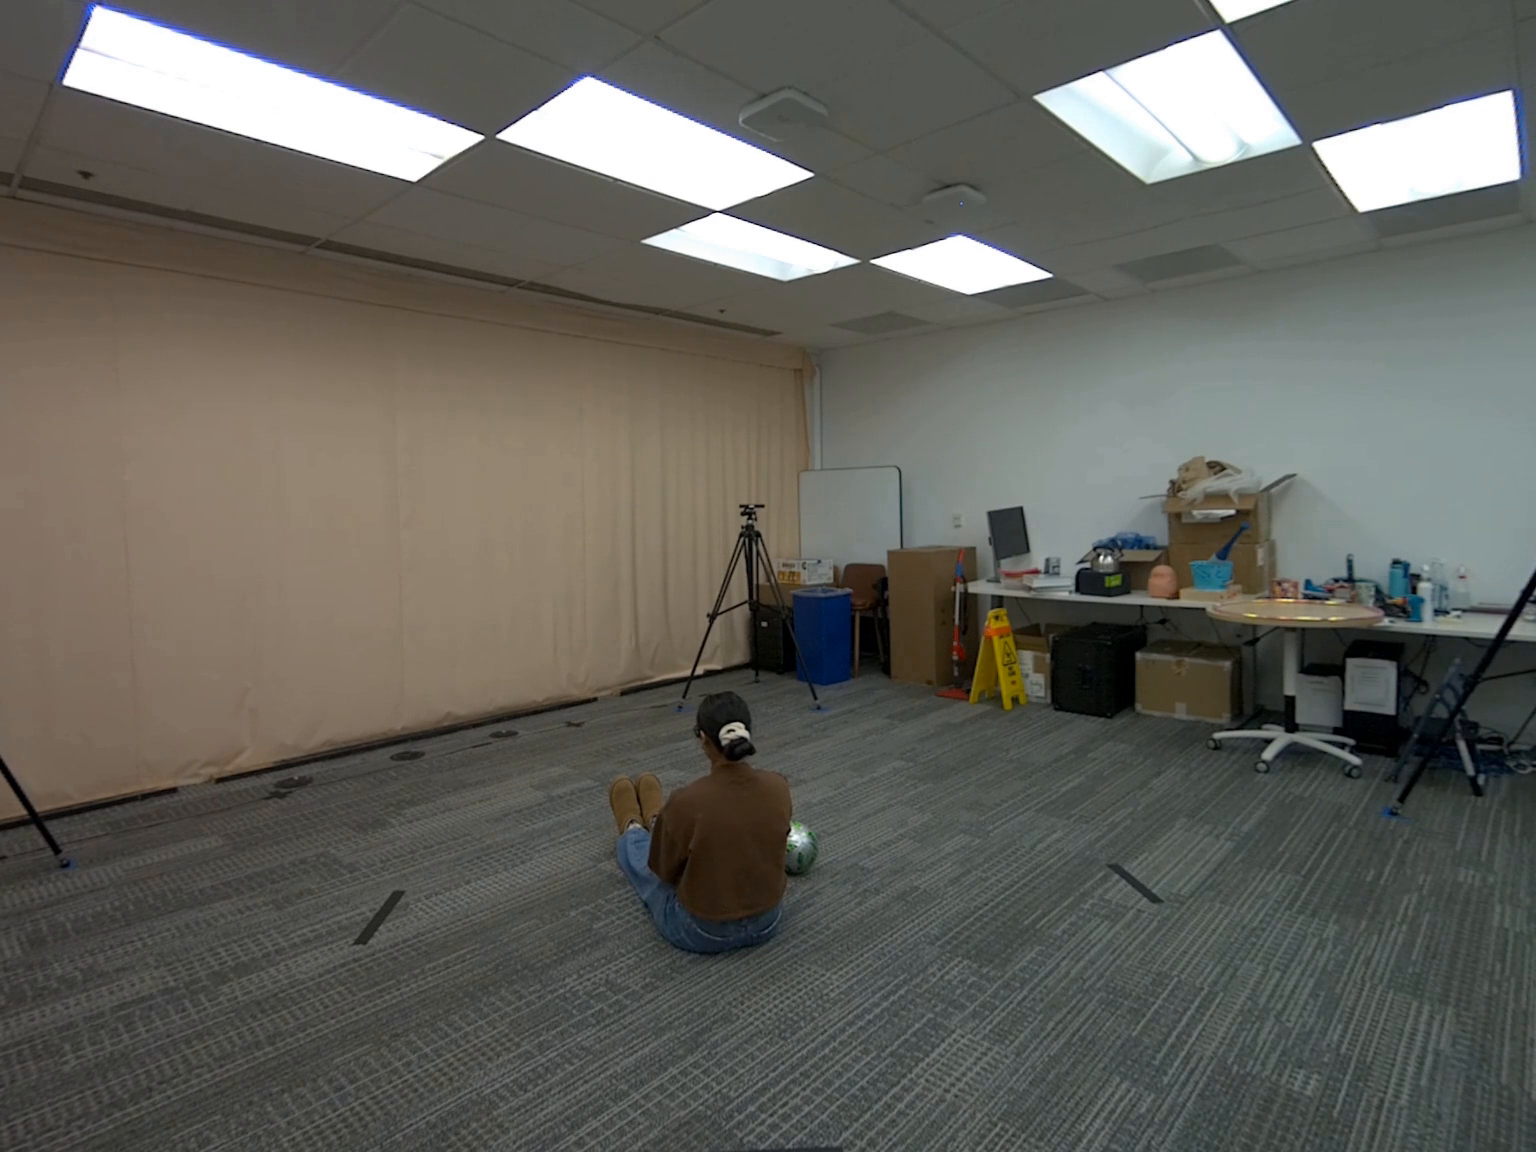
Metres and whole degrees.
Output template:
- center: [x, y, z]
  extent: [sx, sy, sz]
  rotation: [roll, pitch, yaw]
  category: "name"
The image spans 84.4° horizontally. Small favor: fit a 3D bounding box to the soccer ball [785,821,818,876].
- center: [0.102, 1.028, 3.192]
  extent: [0.187, 0.187, 0.188]
  rotation: [-1, 4, -2]
  category: "soccer ball"
